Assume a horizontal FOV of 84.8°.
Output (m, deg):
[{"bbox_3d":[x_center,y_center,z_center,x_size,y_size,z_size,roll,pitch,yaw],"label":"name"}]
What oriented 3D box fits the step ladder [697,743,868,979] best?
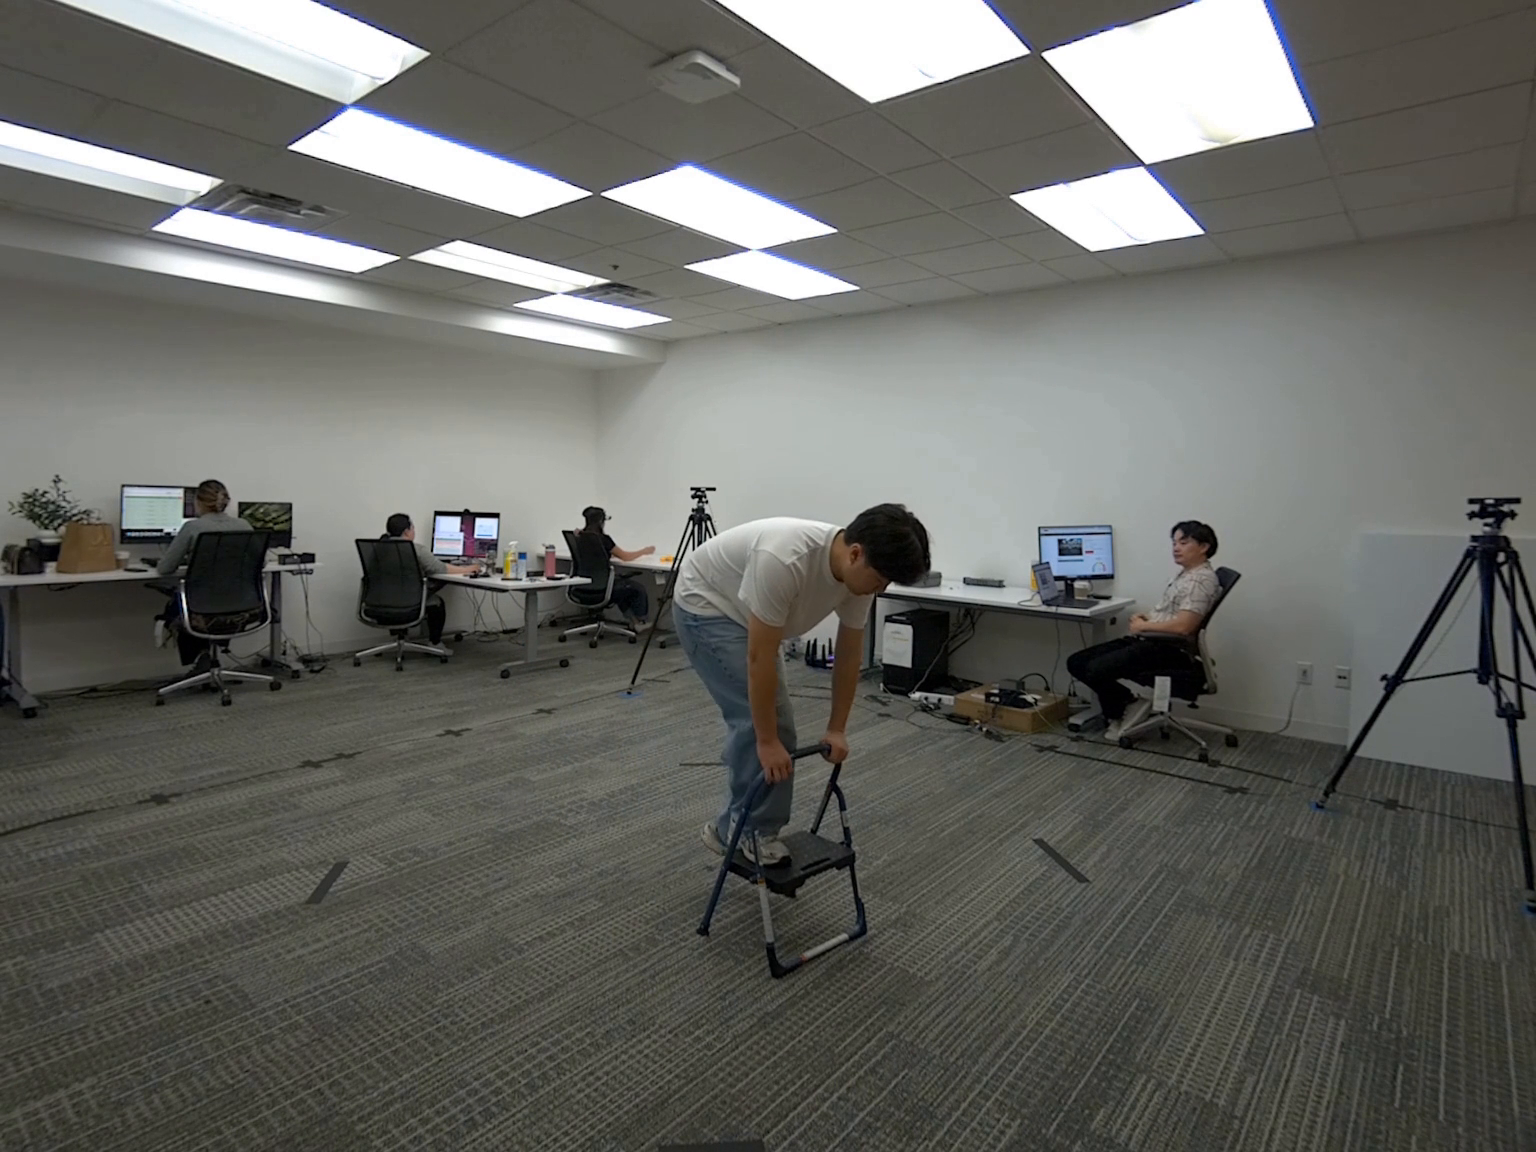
[{"bbox_3d":[0.049,0.815,2.651,0.417,0.604,0.361,-2,5,-44],"label":"step ladder"}]
